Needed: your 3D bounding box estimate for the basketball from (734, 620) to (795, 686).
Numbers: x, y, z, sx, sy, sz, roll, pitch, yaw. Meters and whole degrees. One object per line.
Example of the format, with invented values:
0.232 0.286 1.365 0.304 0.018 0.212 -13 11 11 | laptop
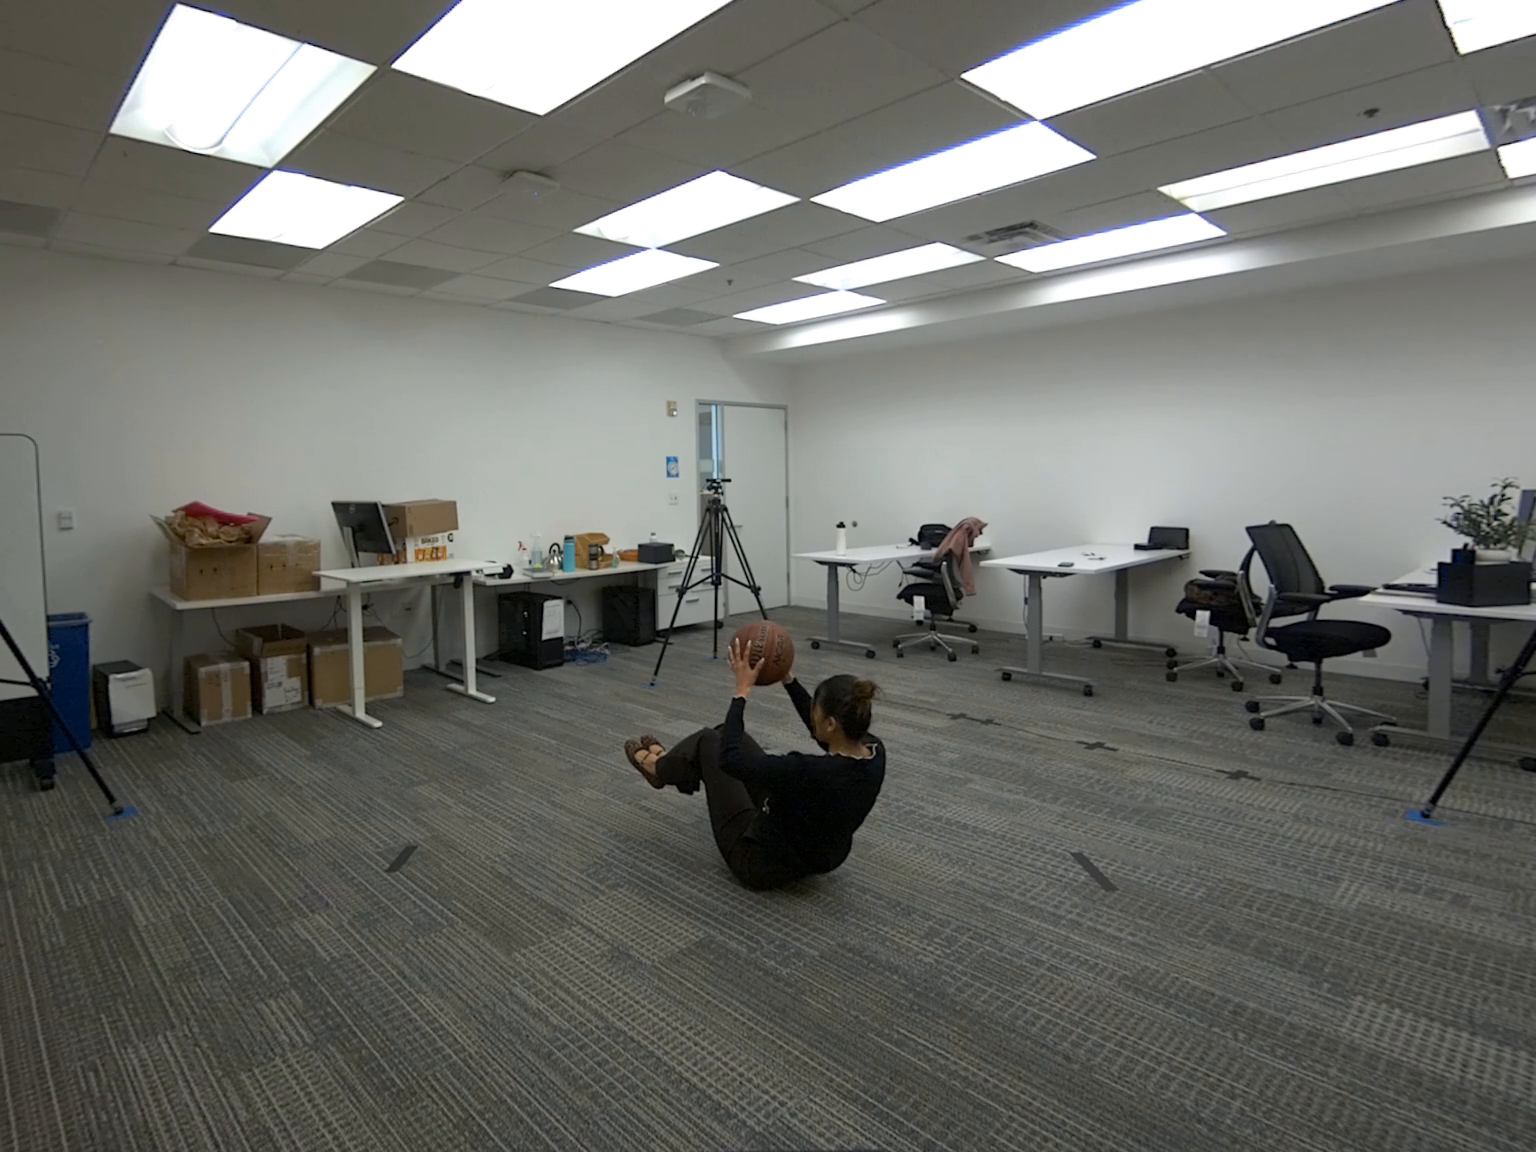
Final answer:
-0.015 0.298 3.066 0.236 0.235 0.237 -1 5 -2 | basketball
